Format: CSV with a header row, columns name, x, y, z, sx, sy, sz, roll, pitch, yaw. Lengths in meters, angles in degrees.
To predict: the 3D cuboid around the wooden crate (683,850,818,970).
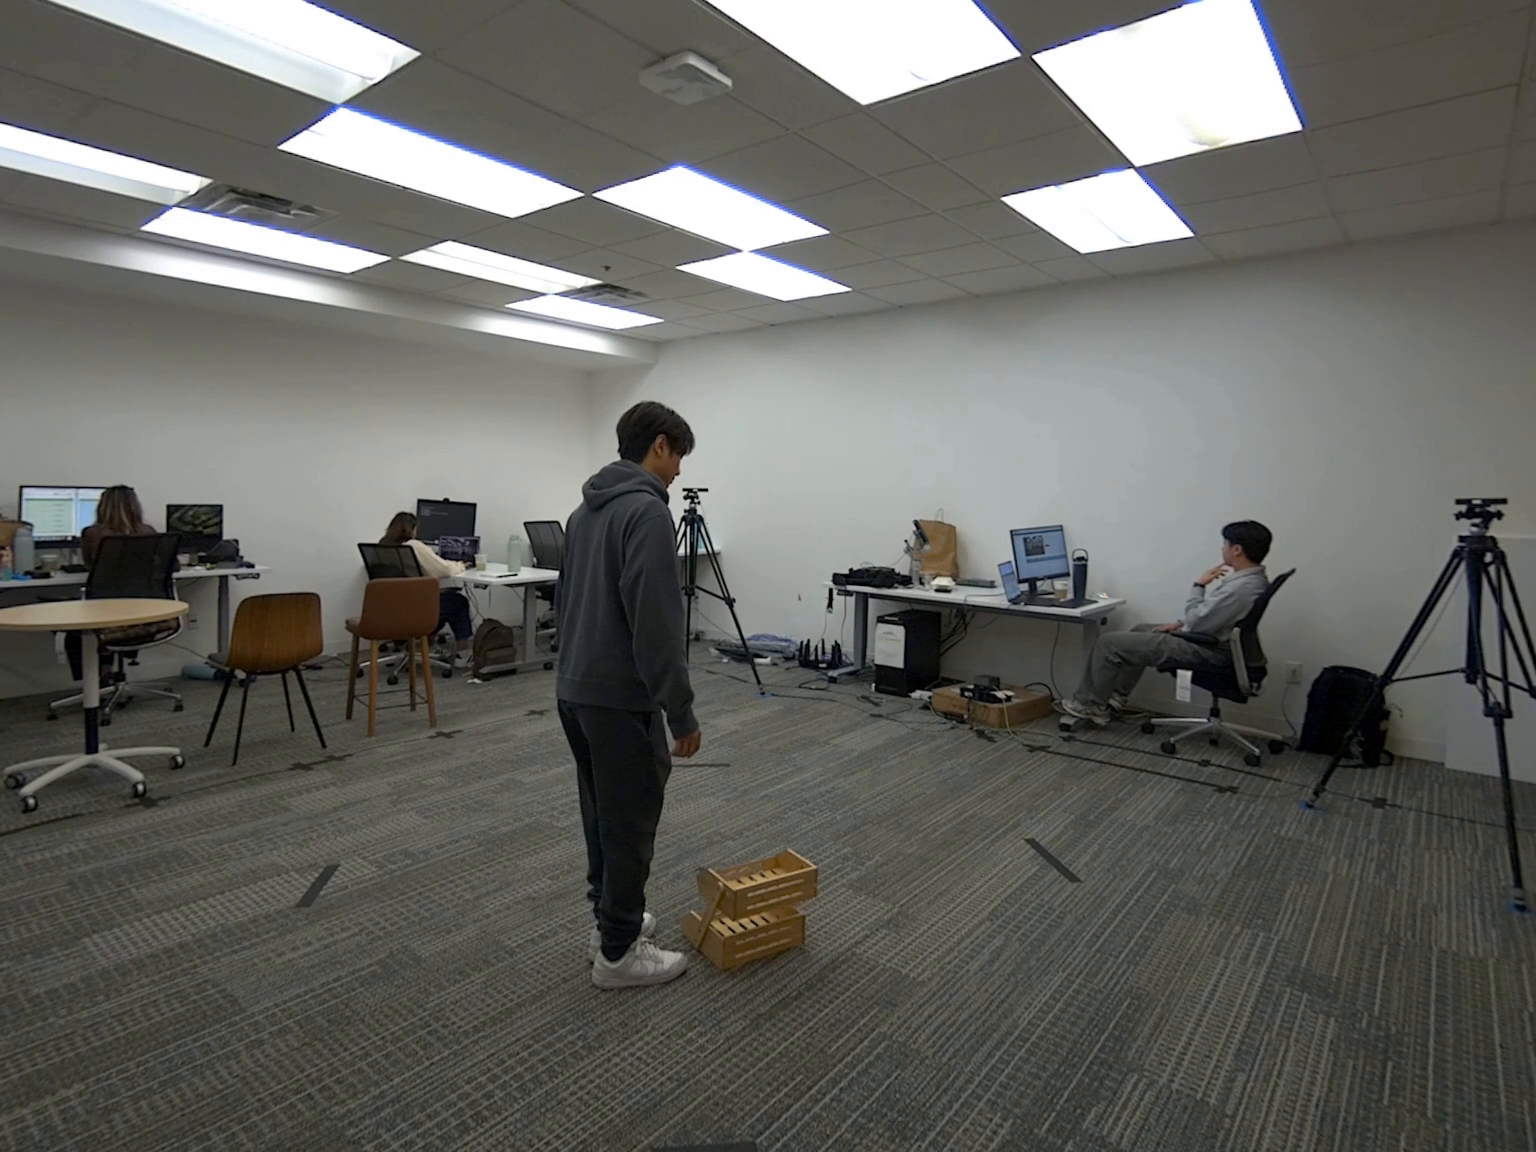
name,x,y,z,sx,sy,sz,roll,pitch,yaw
wooden crate,-0.075,0.982,2.611,0.315,0.272,0.312,-2,6,-34
